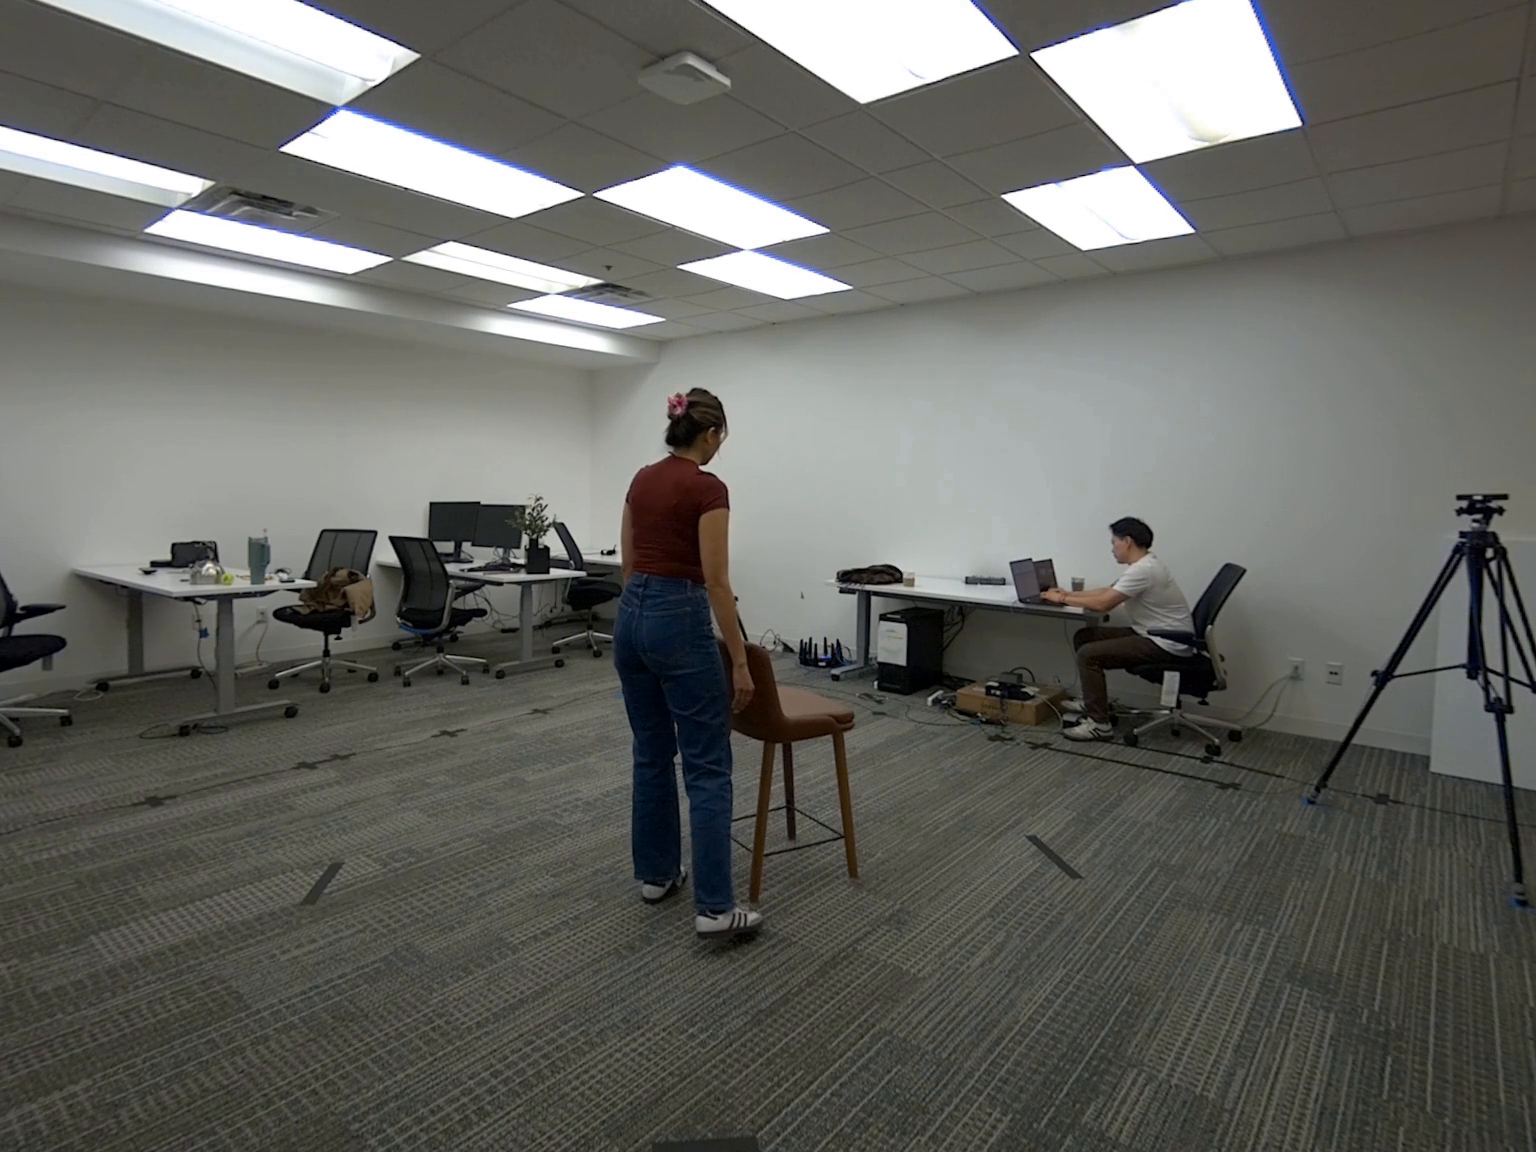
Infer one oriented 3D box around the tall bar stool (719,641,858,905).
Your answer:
[{"bbox_3d":[0.020,0.632,3.093,0.455,0.886,0.471,-3,5,-33],"label":"tall bar stool"}]
